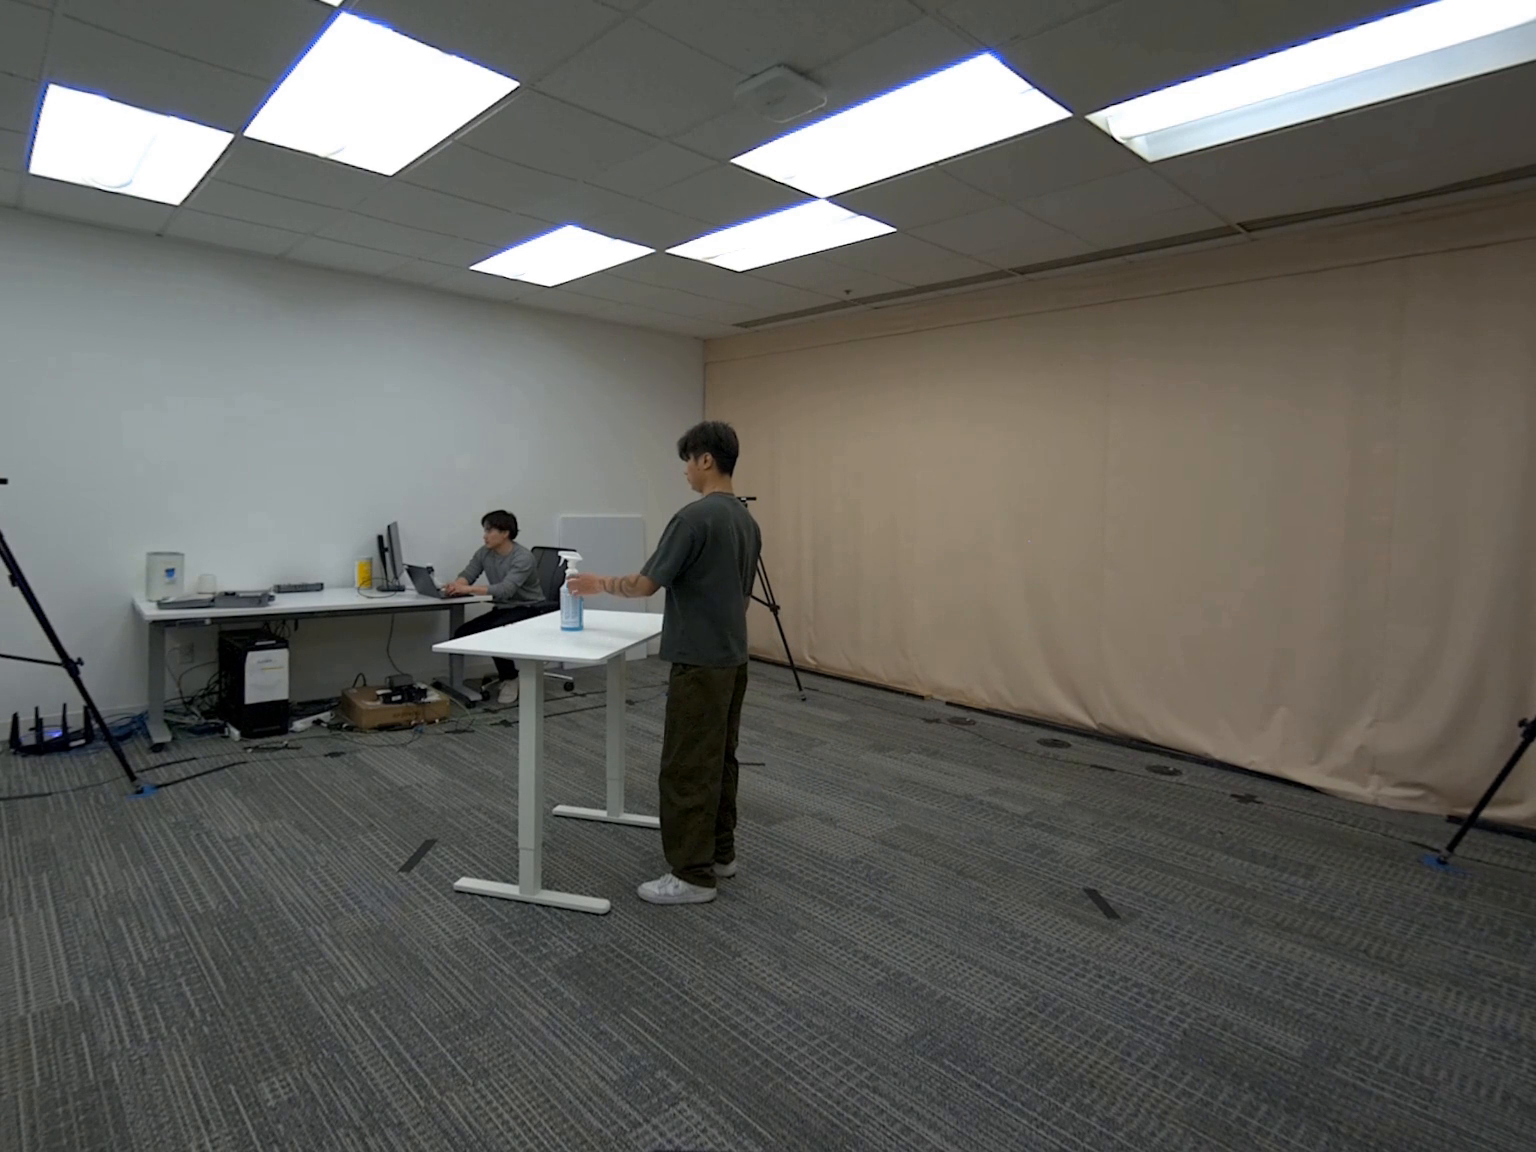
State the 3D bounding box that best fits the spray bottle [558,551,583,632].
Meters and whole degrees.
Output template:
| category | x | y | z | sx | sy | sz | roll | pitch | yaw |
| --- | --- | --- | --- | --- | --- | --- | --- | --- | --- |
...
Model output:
| category | x | y | z | sx | sy | sz | roll | pitch | yaw |
| --- | --- | --- | --- | --- | --- | --- | --- | --- | --- |
| spray bottle | -0.743 | 0.057 | 3.181 | 0.092 | 0.297 | 0.085 | 2 | 3 | 29 |
